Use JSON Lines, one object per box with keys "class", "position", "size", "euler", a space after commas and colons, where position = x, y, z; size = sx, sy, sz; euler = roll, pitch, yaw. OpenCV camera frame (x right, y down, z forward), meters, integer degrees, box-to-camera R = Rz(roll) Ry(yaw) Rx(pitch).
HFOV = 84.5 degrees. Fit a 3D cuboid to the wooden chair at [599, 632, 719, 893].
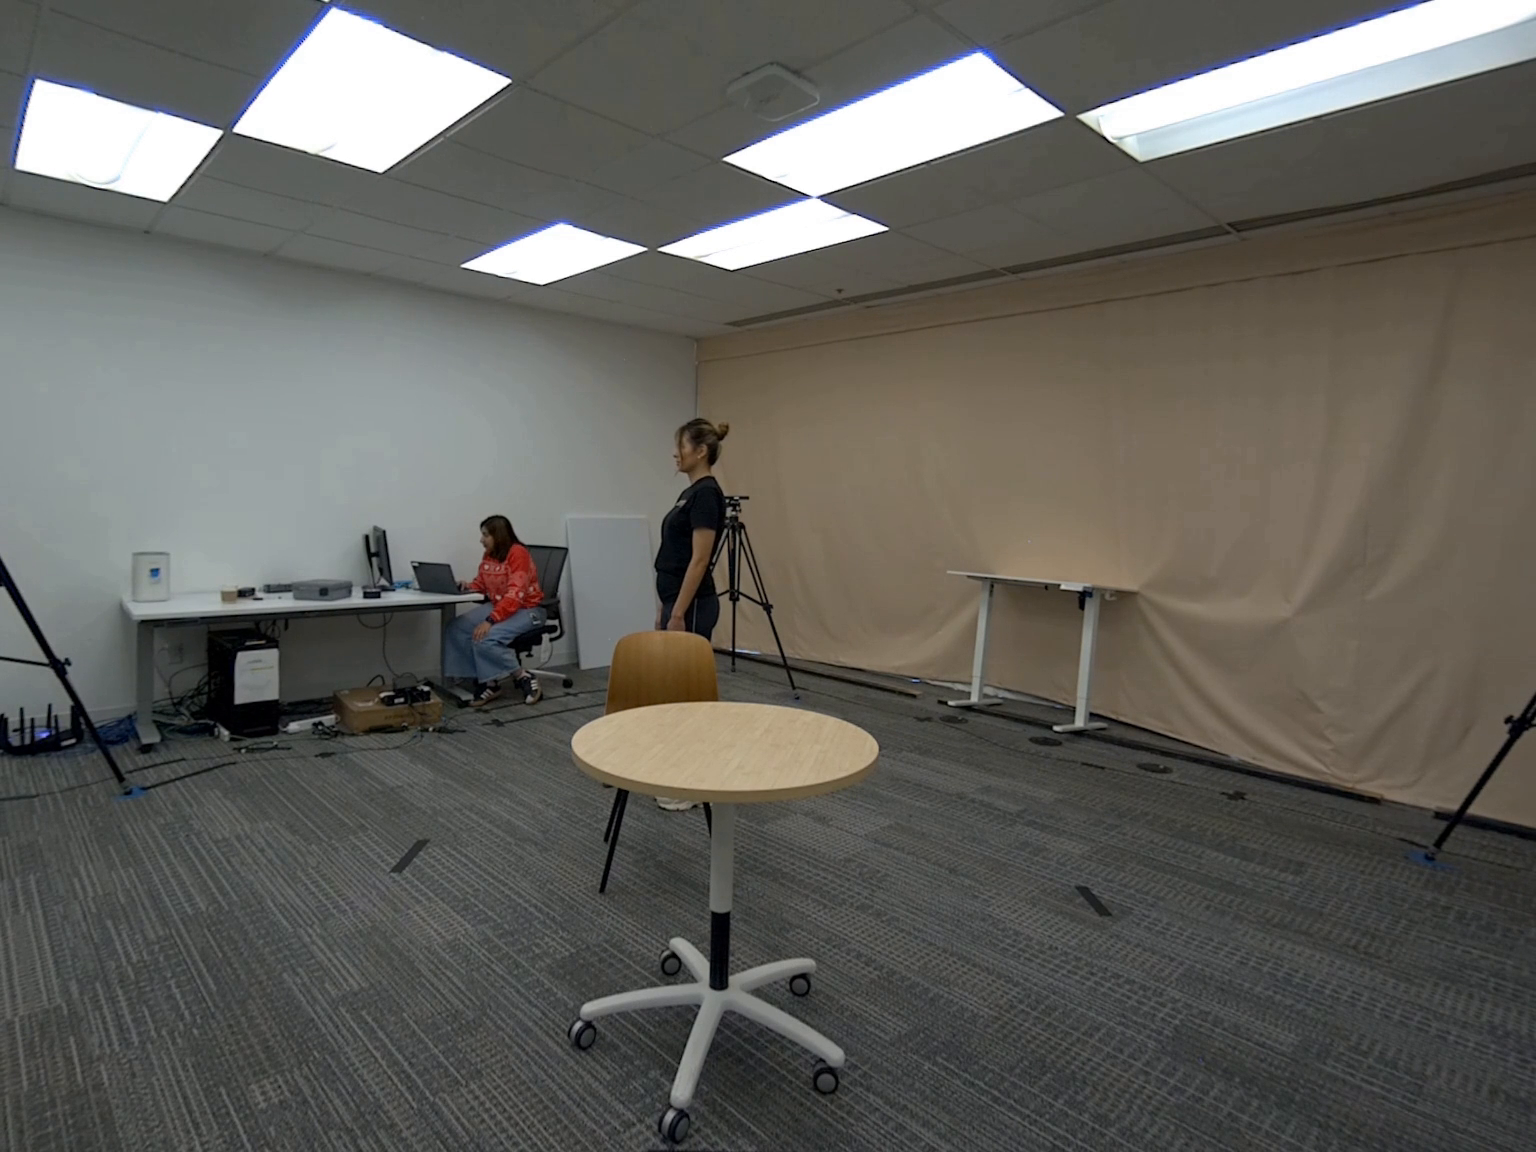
{"class": "wooden chair", "position": [-0.393, 0.669, 3.144], "size": [0.475, 0.878, 0.526], "euler": [2, 0, -9]}
